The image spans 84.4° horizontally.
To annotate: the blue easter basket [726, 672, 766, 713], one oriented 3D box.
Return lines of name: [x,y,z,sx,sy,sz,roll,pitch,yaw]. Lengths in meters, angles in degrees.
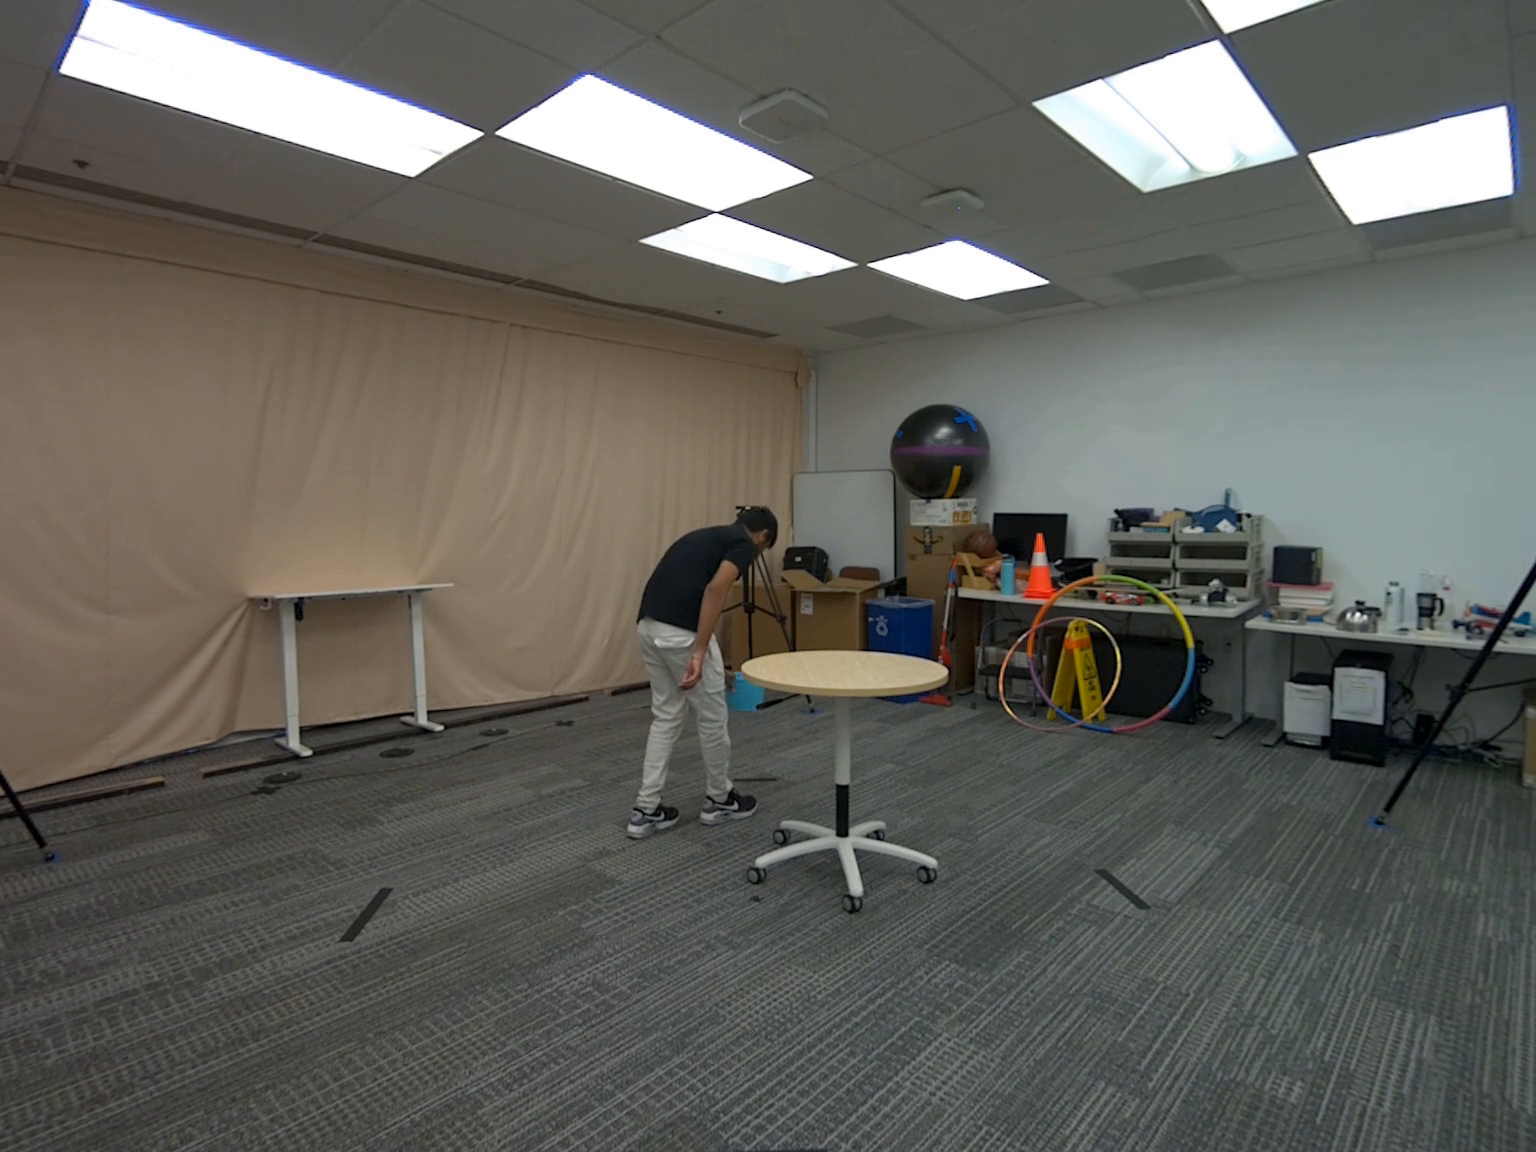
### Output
blue easter basket: [-0.117,0.557,4.085,0.243,0.155,0.244,-1,3,-2]
